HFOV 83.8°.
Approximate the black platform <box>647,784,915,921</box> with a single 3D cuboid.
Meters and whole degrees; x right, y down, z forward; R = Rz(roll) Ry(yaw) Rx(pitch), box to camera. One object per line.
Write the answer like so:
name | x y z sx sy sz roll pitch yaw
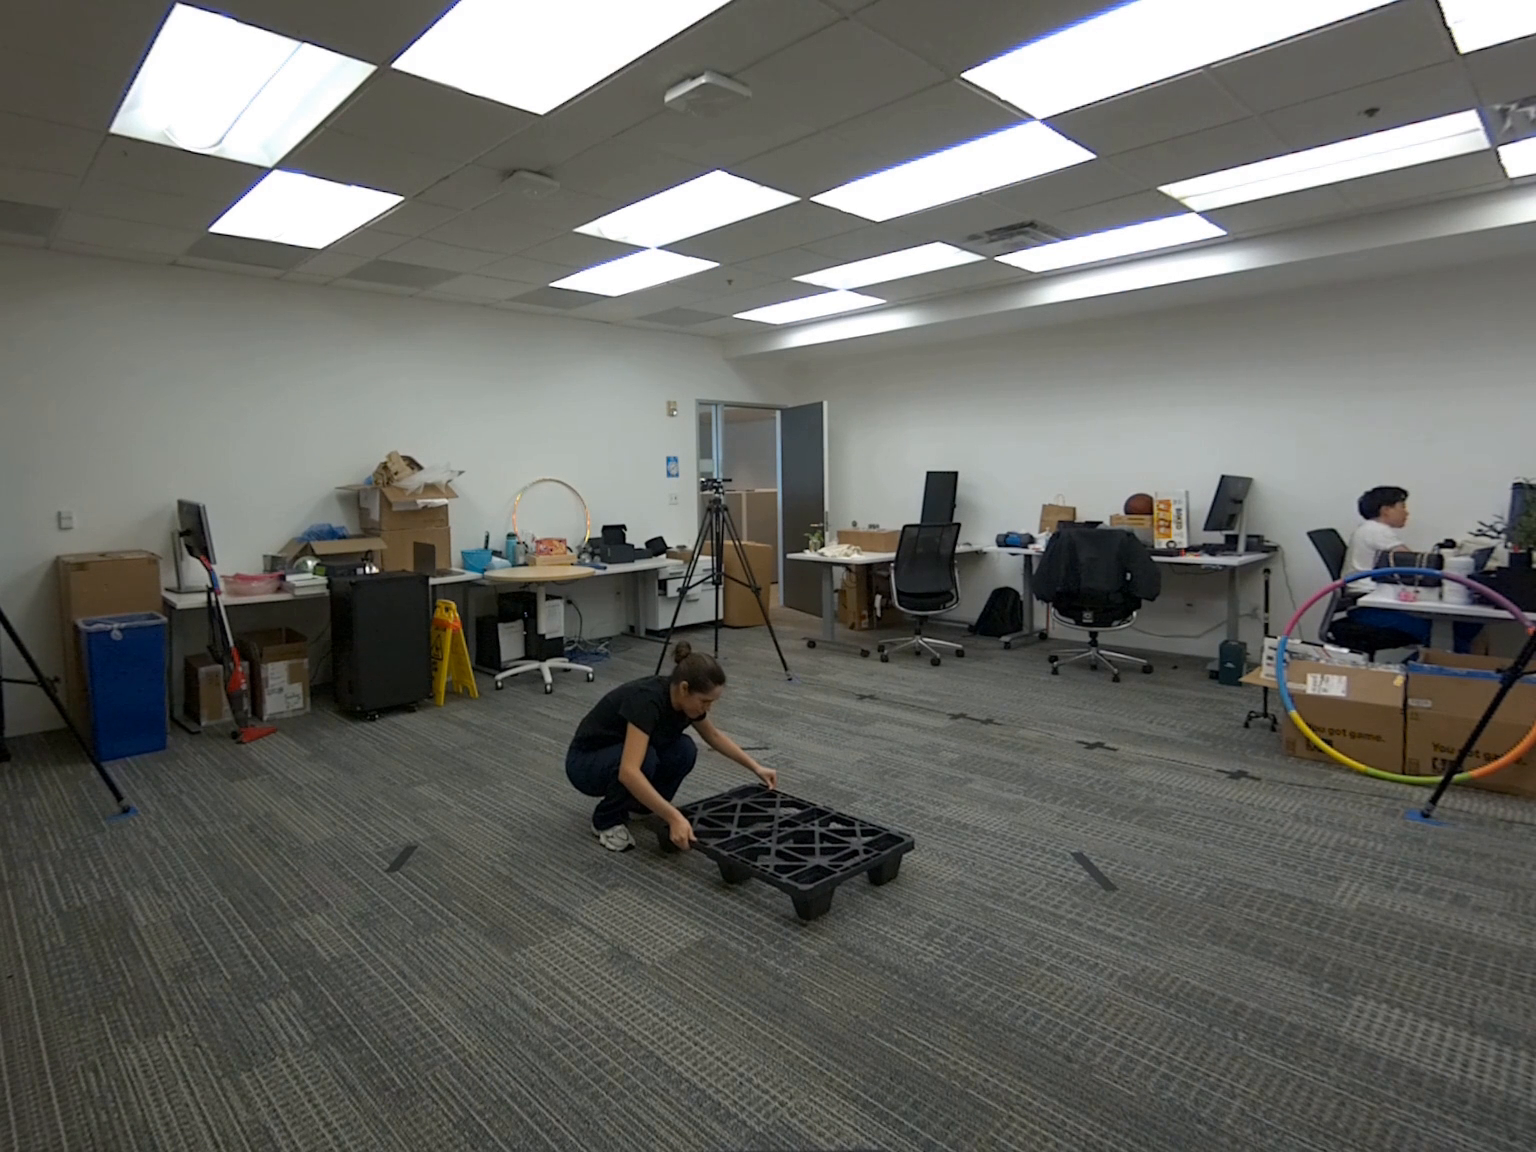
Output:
black platform | 0.026 0.973 3.081 0.589 0.143 0.830 -5 7 -45
